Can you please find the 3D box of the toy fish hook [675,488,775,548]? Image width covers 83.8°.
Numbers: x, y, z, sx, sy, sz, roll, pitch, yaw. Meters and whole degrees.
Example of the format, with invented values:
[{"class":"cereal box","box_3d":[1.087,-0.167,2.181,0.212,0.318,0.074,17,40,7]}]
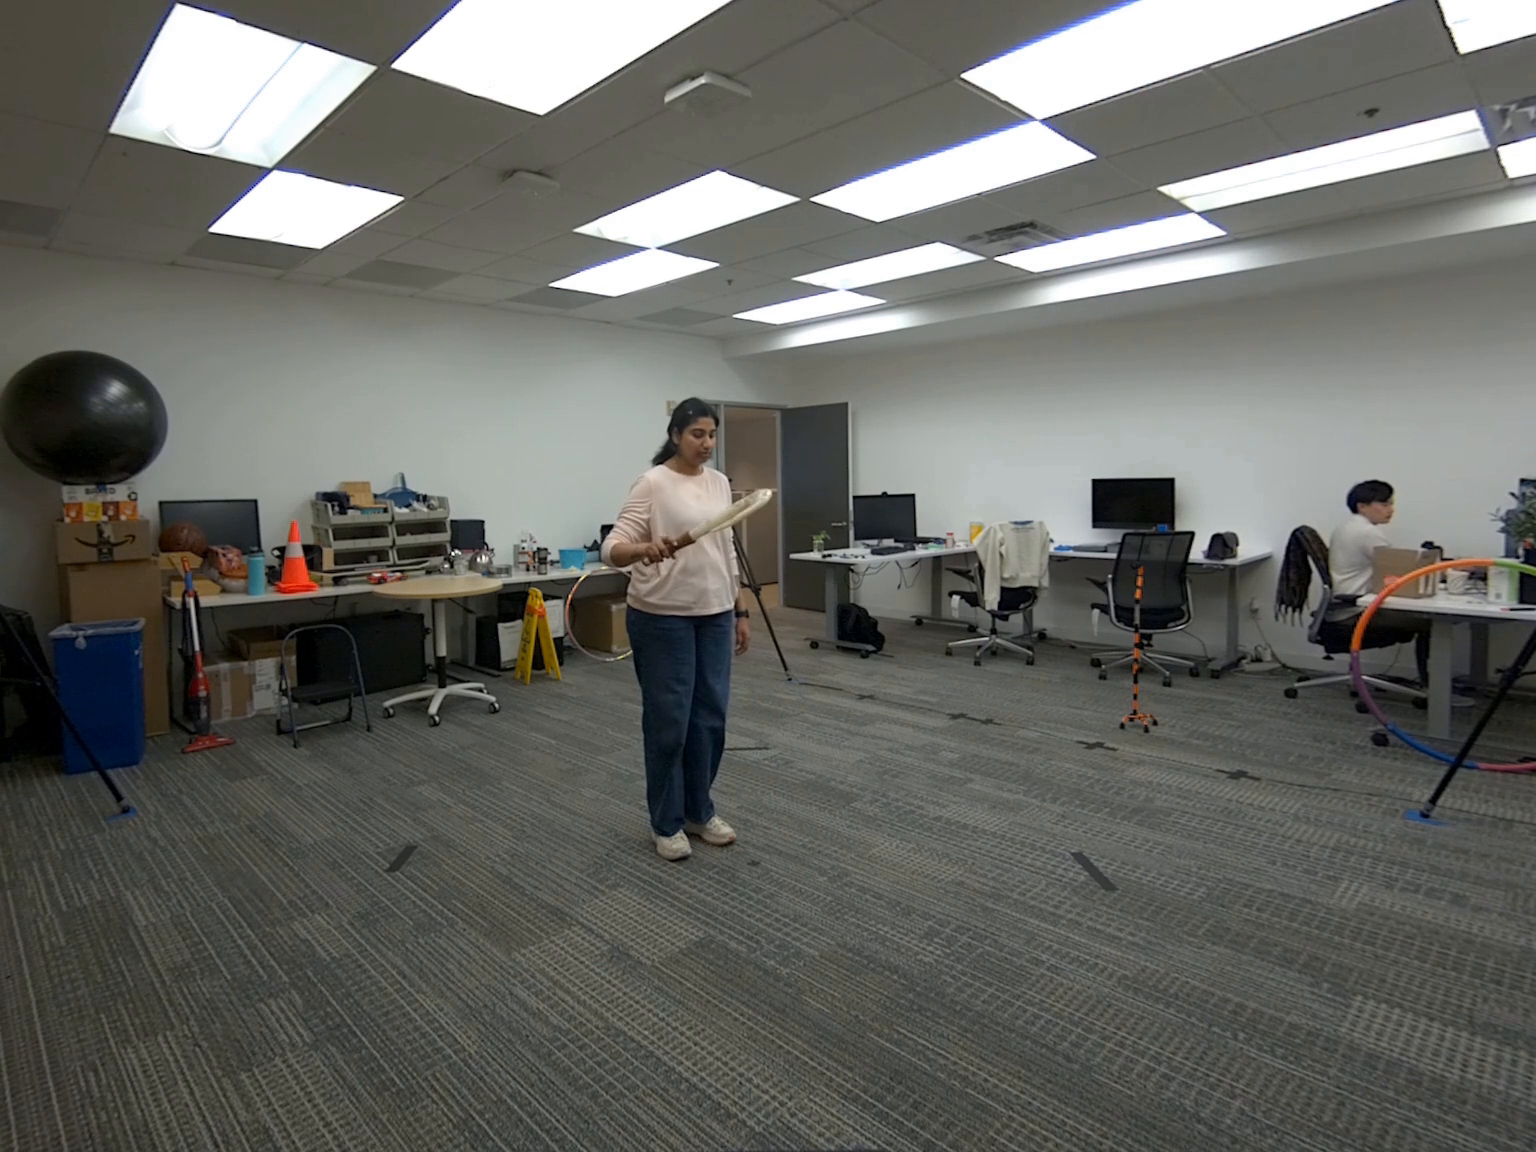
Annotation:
[{"class":"toy fish hook","box_3d":[-0.205,-0.128,2.700,0.510,0.048,0.225,-29,9,19]}]
